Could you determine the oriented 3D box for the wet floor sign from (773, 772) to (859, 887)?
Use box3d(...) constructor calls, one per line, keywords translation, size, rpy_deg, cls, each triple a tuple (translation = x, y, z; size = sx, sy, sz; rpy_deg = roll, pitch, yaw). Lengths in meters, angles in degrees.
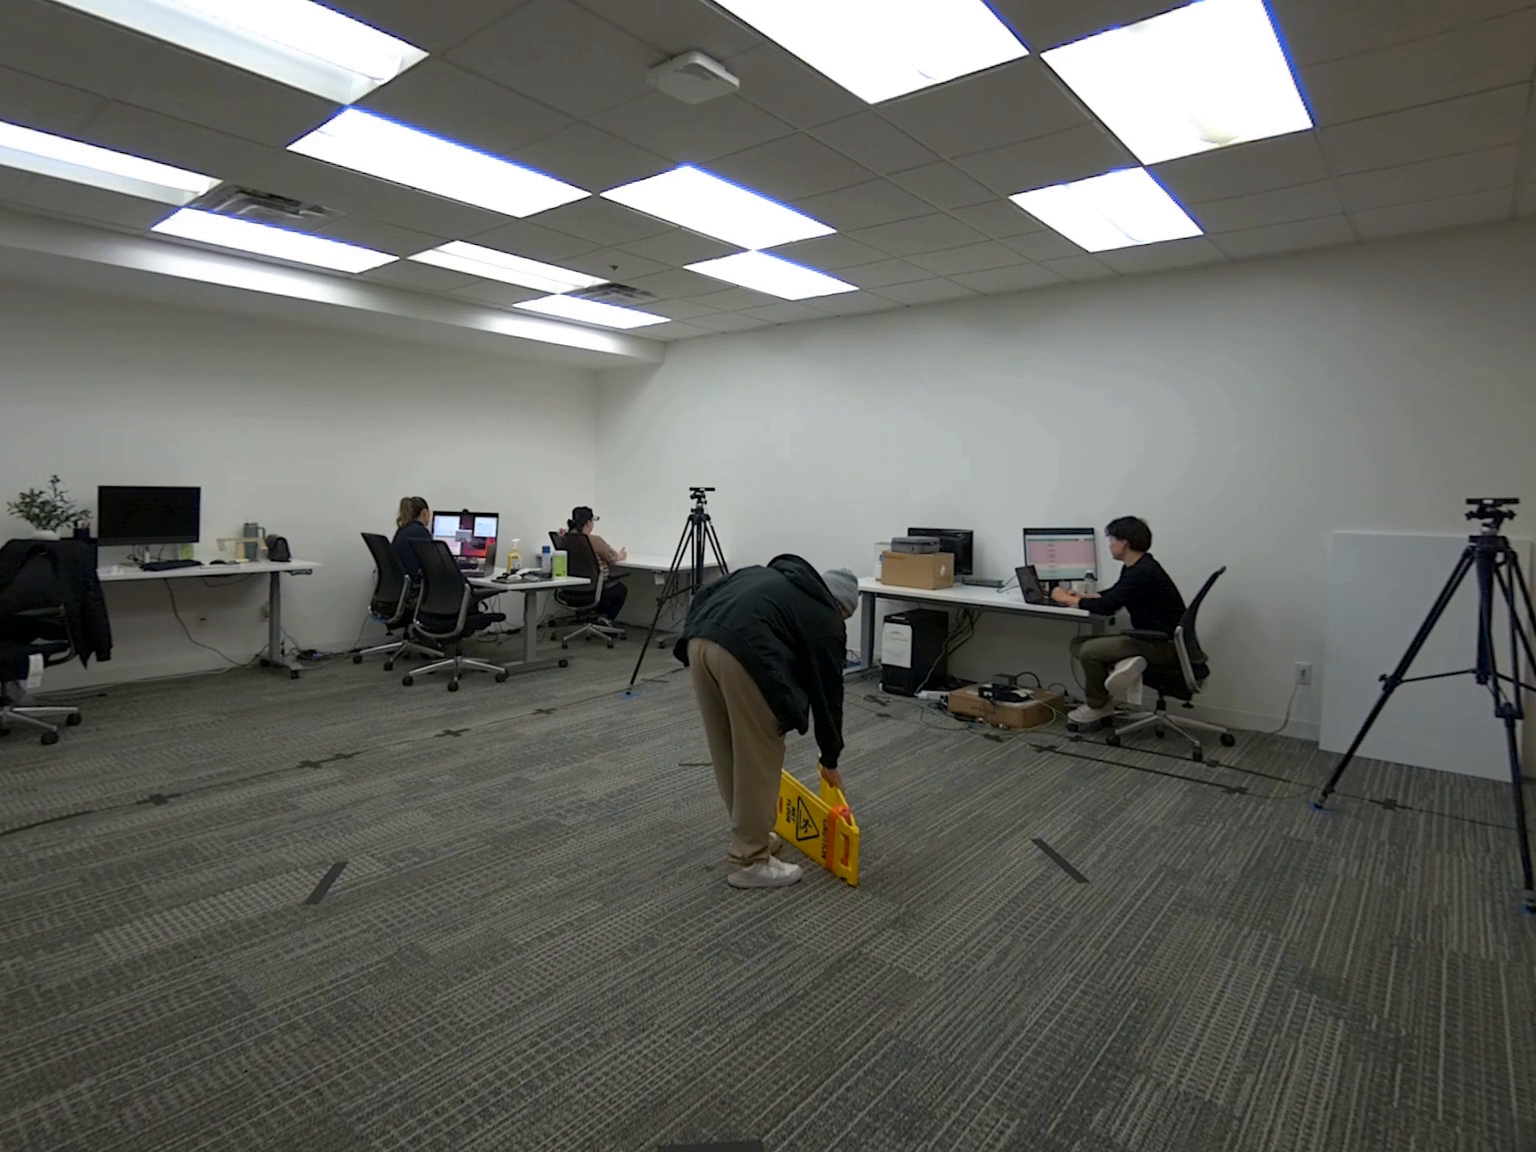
box3d(translation=(0.202, 0.933, 3.278), size=(0.284, 0.280, 0.662), rpy_deg=(0, 8, -19), cls="wet floor sign")
